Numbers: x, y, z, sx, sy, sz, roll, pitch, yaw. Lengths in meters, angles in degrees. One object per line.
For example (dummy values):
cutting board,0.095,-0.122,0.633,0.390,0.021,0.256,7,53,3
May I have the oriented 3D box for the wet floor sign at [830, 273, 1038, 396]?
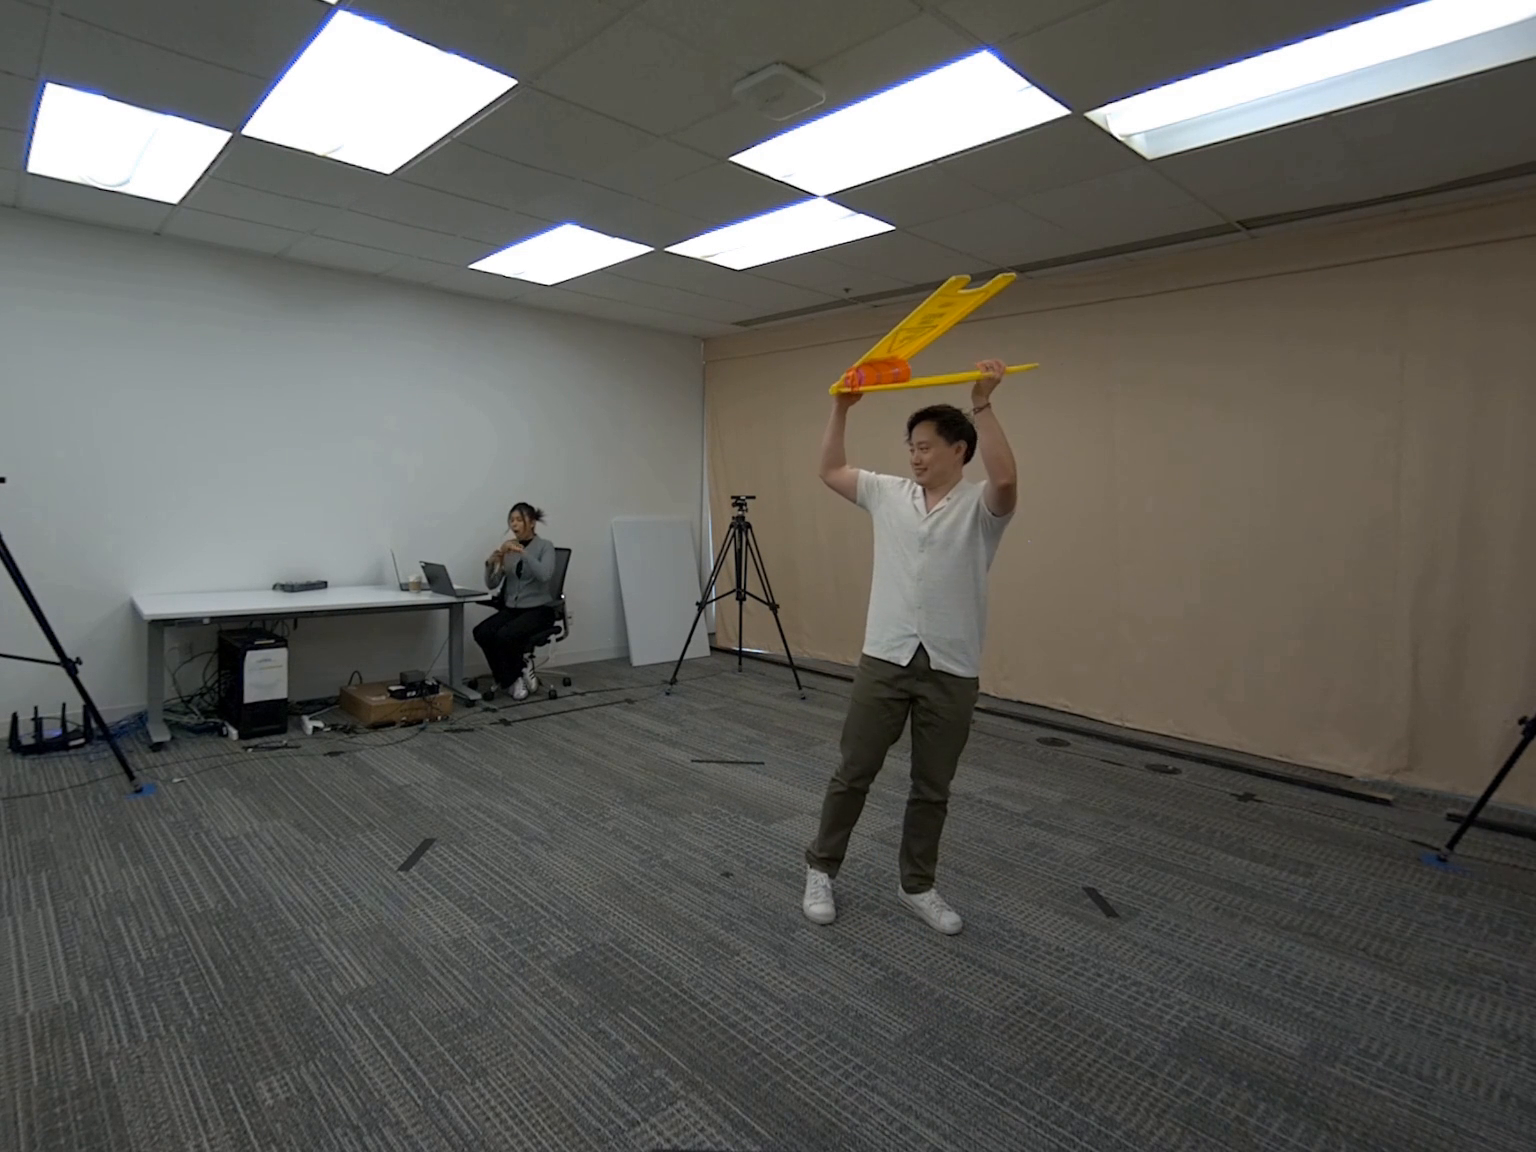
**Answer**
wet floor sign,0.459,-0.663,2.620,0.278,0.289,0.657,-15,2,-34
